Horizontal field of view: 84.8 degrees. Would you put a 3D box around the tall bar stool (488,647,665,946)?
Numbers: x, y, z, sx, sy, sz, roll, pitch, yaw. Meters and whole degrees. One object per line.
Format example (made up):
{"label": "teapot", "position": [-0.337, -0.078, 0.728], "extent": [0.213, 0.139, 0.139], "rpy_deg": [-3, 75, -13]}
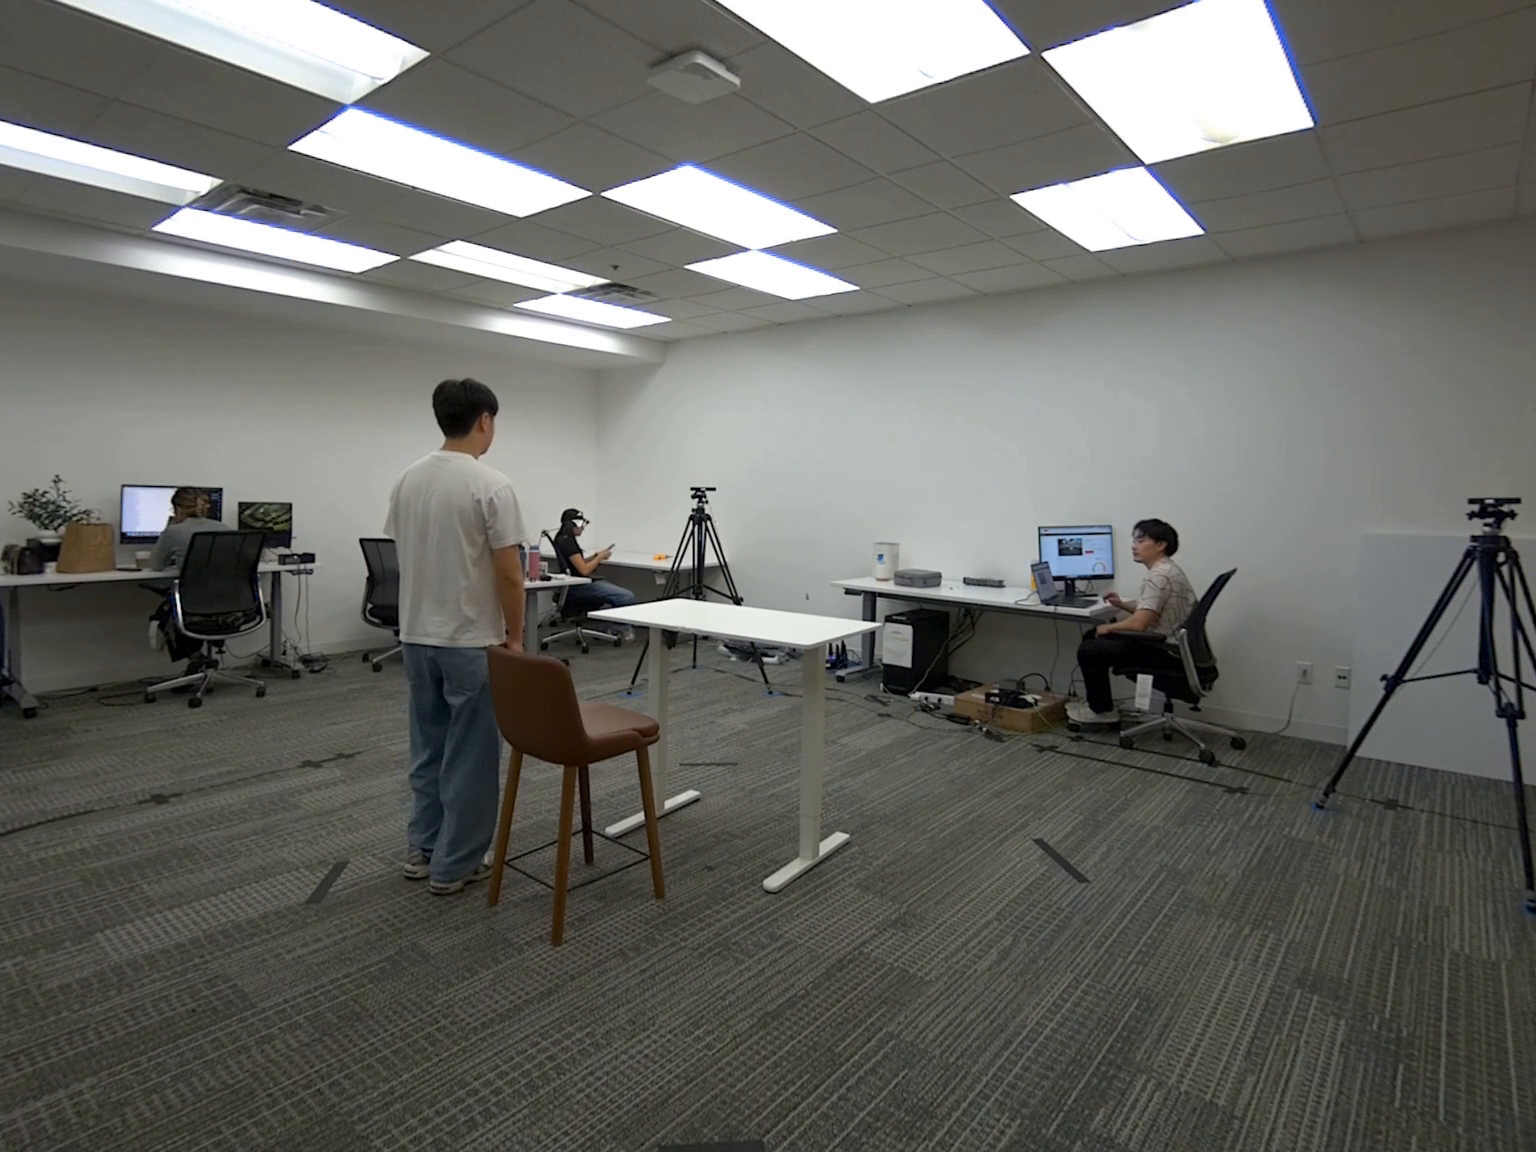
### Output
{"label": "tall bar stool", "position": [-0.645, 0.650, 2.822], "extent": [0.472, 0.886, 0.454], "rpy_deg": [3, 6, 40]}
